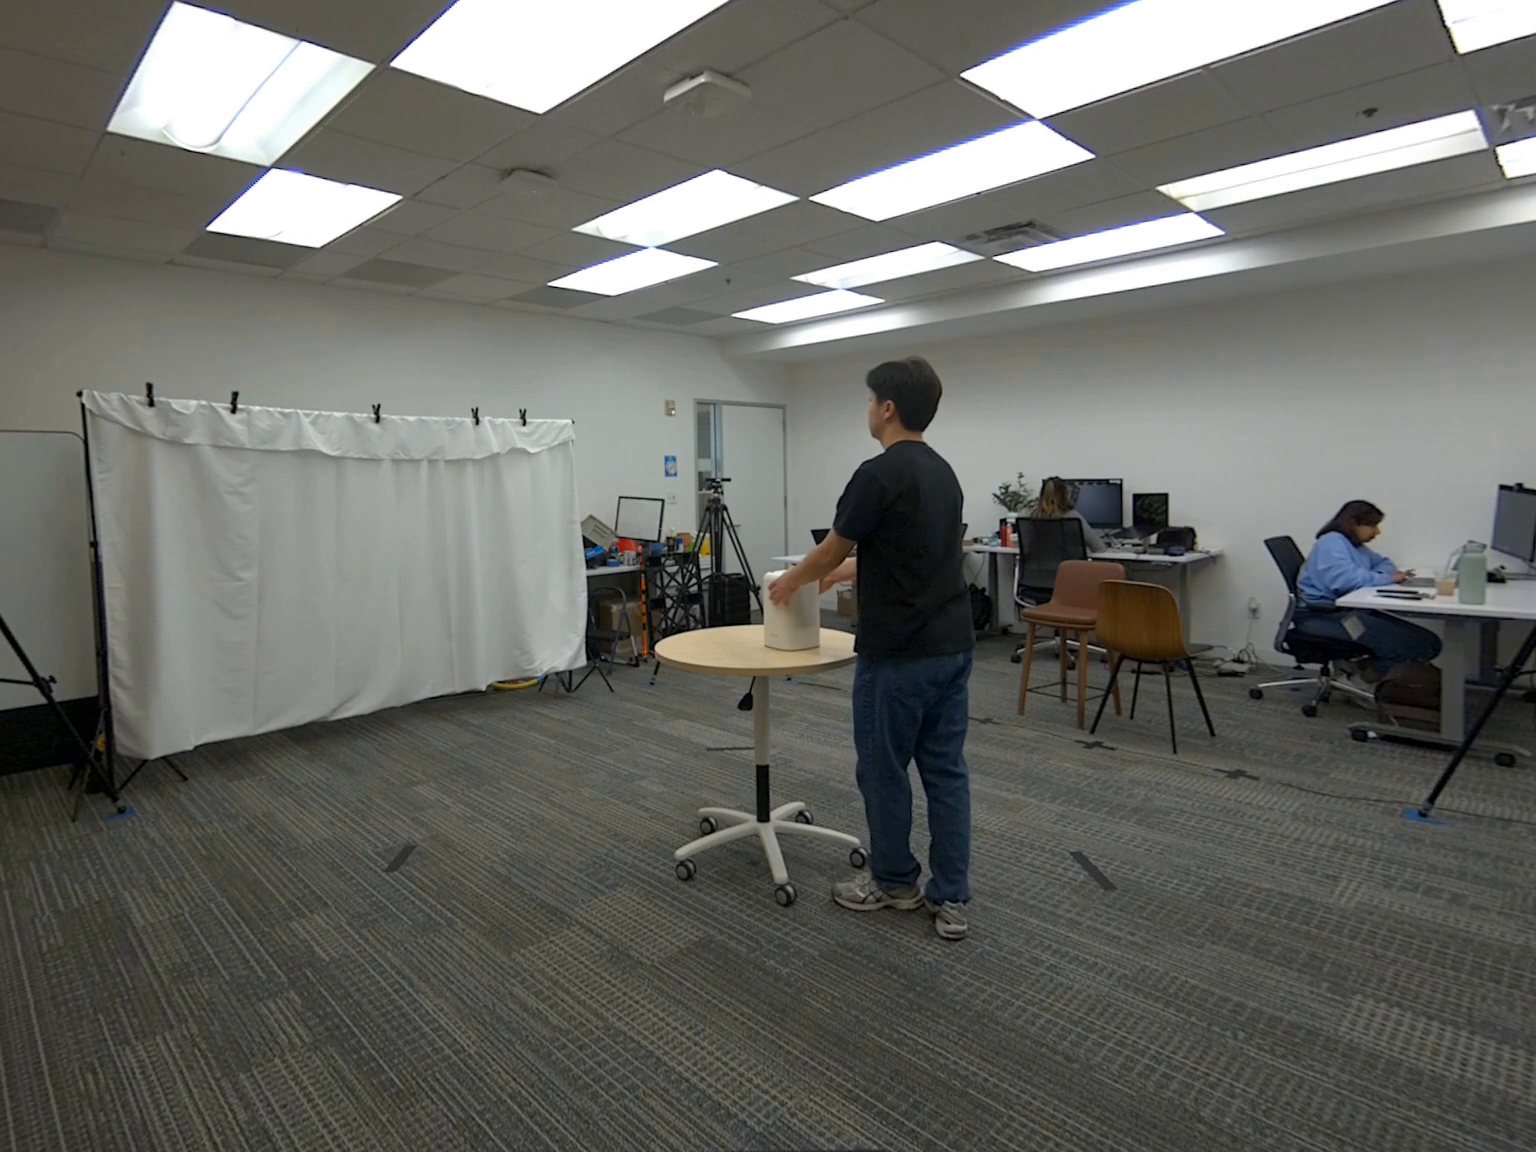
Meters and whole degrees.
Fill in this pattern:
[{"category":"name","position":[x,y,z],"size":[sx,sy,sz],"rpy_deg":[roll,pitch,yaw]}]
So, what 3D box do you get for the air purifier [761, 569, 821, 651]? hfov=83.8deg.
[{"category":"air purifier","position":[0.083,0.115,3.055],"size":[0.167,0.264,0.176],"rpy_deg":[-3,6,-33]}]
